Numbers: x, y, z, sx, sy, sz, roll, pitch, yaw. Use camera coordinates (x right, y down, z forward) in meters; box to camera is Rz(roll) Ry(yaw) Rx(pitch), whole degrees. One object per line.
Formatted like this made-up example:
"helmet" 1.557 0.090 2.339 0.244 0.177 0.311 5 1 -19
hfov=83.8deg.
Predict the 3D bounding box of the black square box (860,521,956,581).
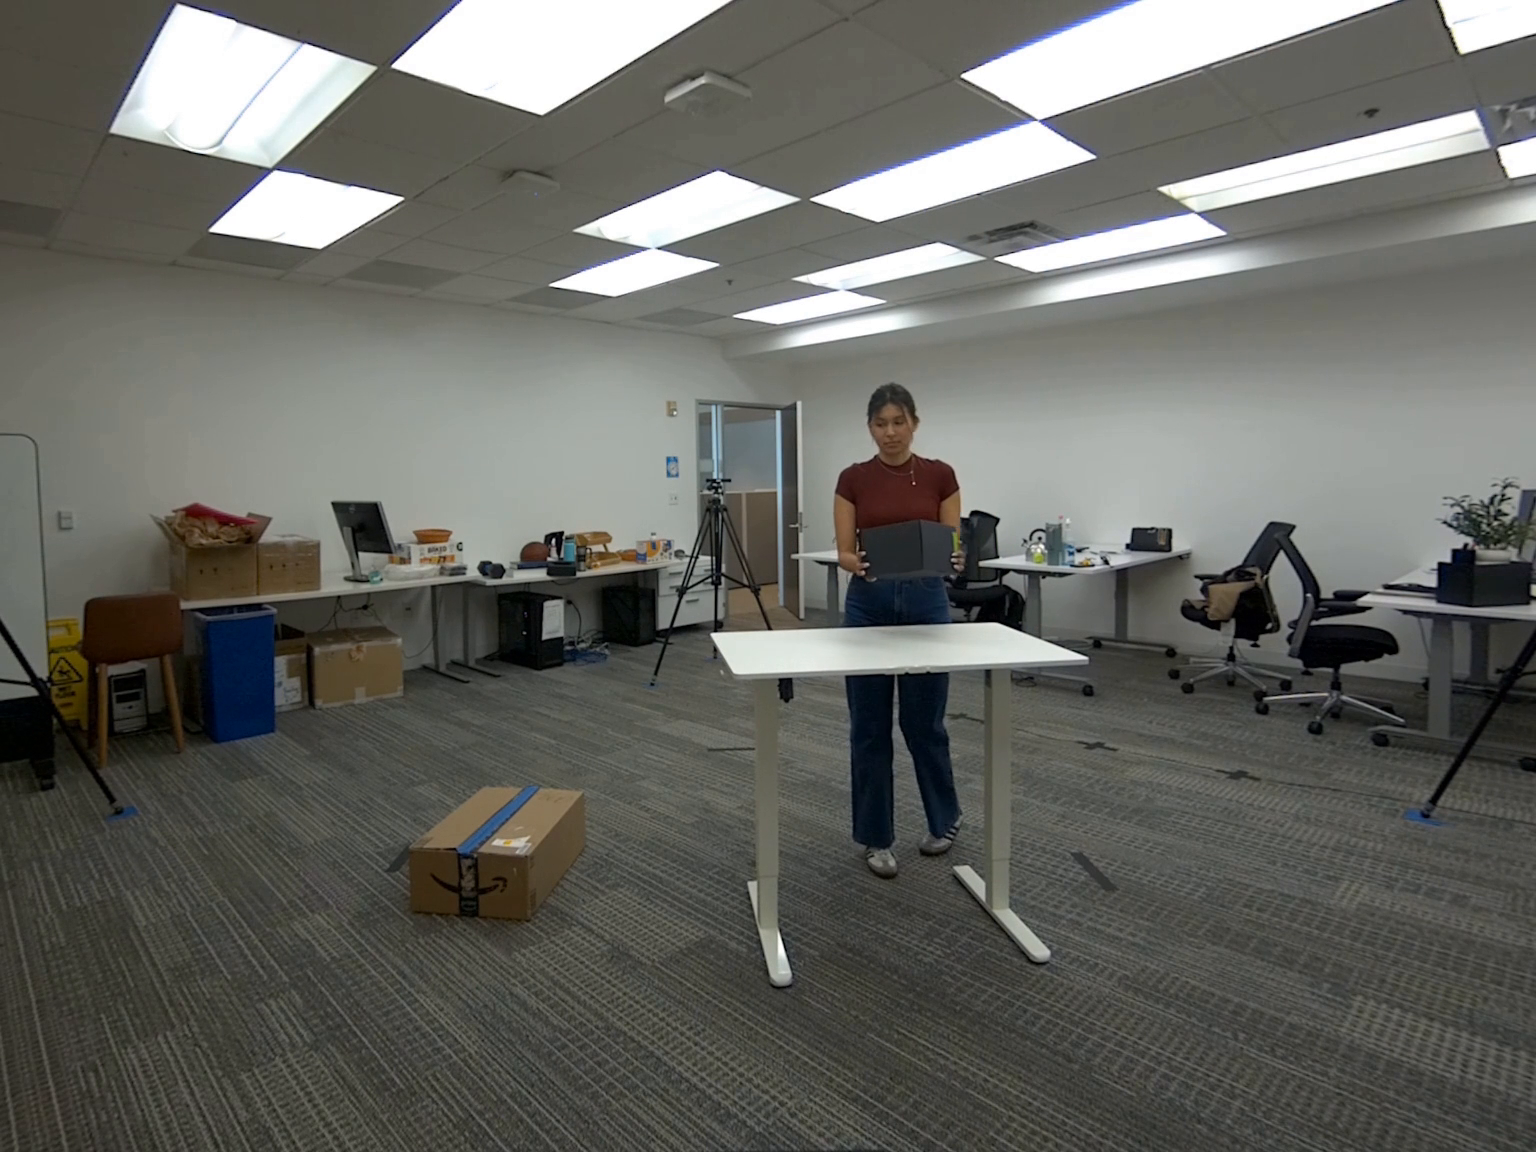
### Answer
"black square box" 0.454 -0.076 2.744 0.233 0.157 0.210 -9 -10 42
